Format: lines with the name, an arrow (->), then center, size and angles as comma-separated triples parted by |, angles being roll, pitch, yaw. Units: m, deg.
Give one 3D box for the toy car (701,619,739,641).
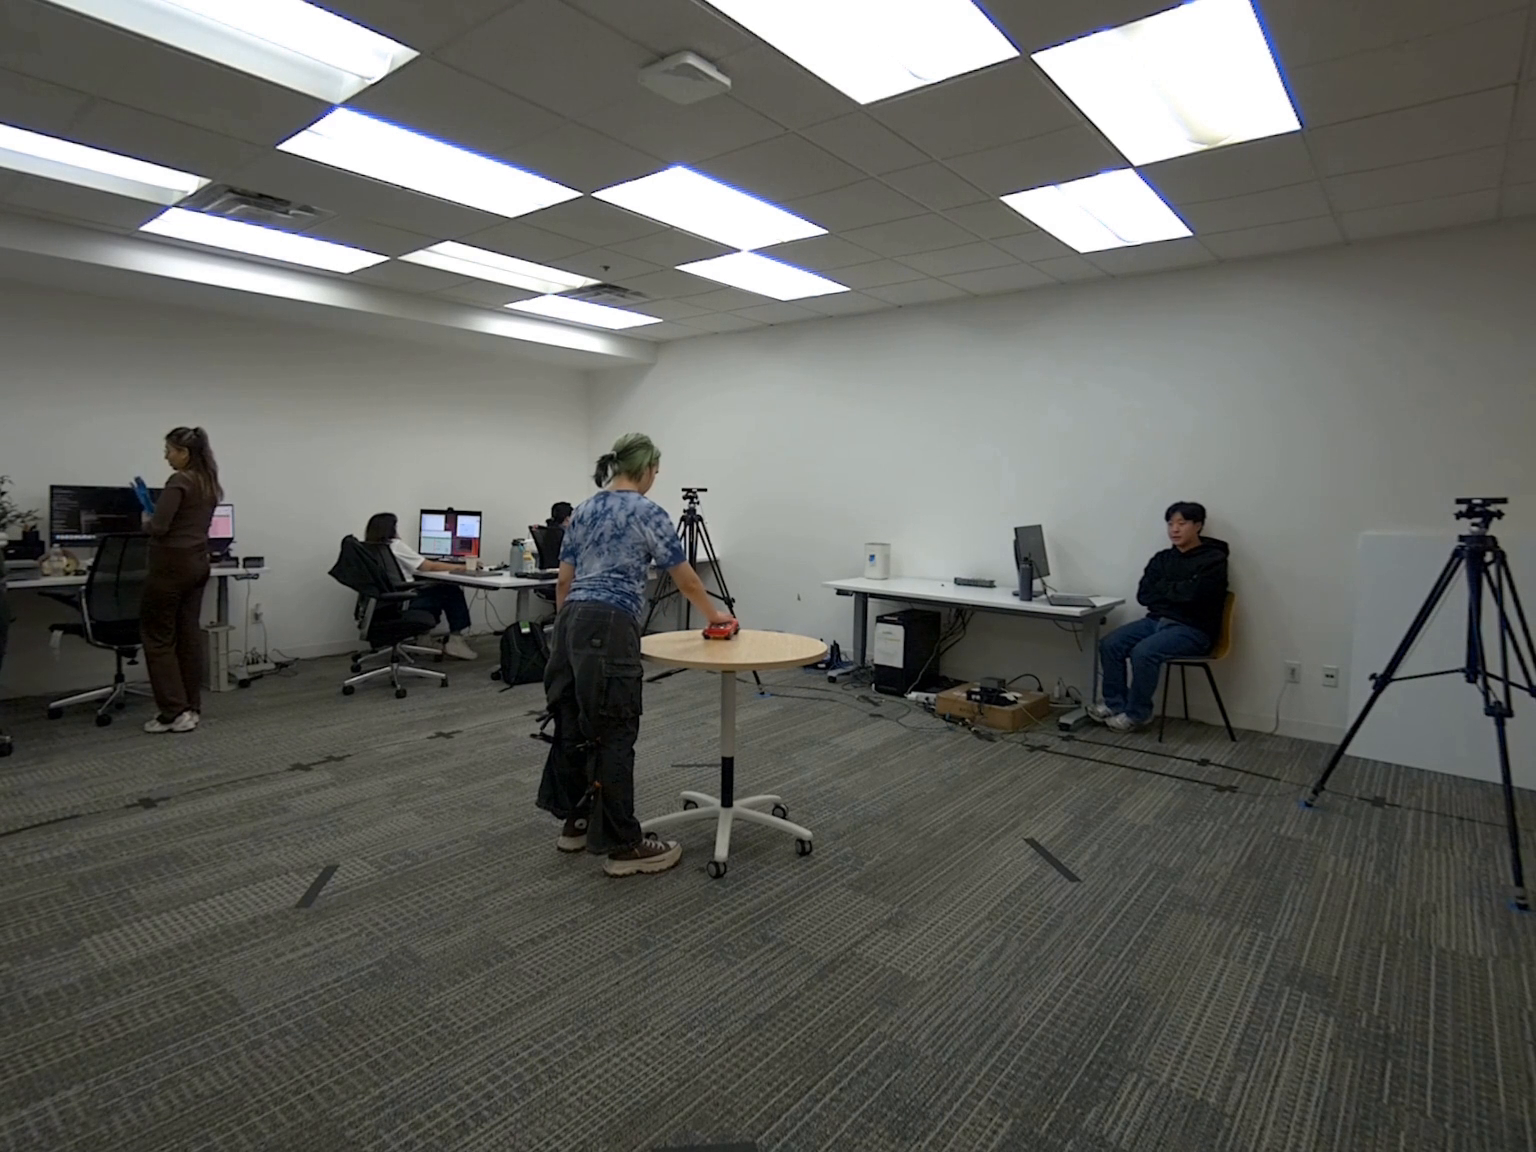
toy car -> -0.202, 0.214, 3.555 | 0.132, 0.082, 0.255 | -2, 16, 10
